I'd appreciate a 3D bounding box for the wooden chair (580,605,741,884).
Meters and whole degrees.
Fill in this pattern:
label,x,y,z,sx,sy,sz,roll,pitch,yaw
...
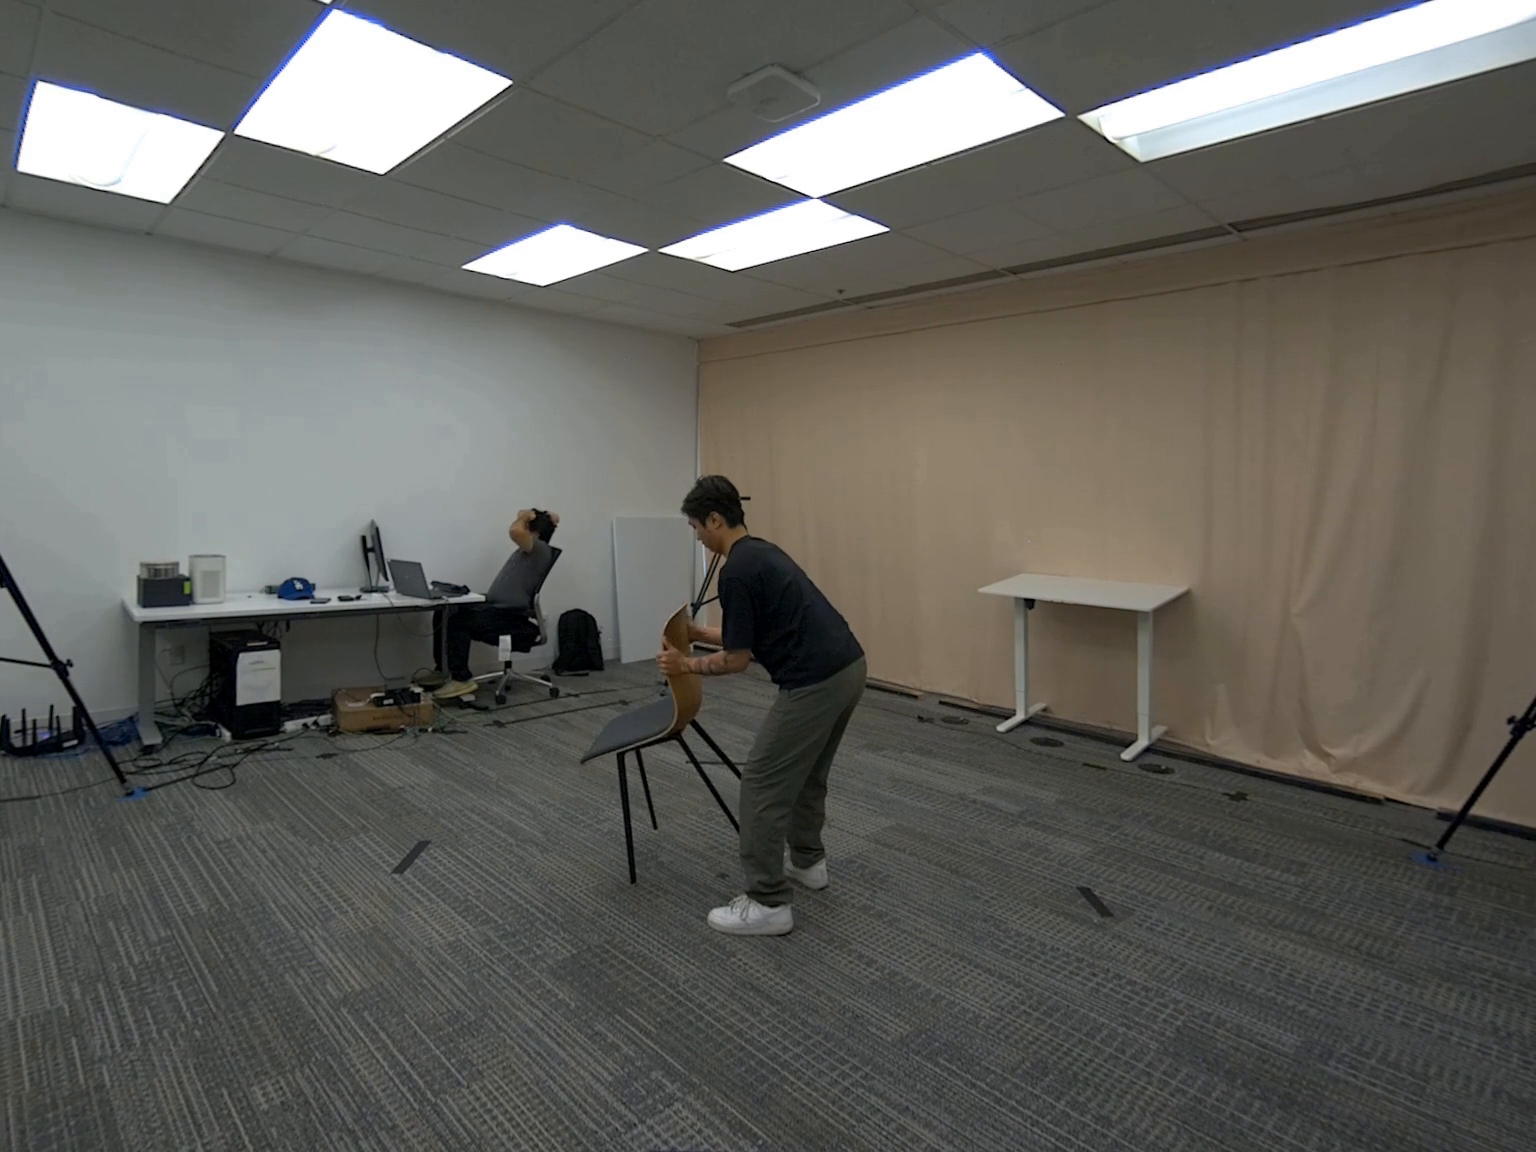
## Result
label,x,y,z,sx,sy,sz,roll,pitch,yaw
wooden chair,-0.425,0.592,3.136,0.525,0.873,0.479,-16,5,6
